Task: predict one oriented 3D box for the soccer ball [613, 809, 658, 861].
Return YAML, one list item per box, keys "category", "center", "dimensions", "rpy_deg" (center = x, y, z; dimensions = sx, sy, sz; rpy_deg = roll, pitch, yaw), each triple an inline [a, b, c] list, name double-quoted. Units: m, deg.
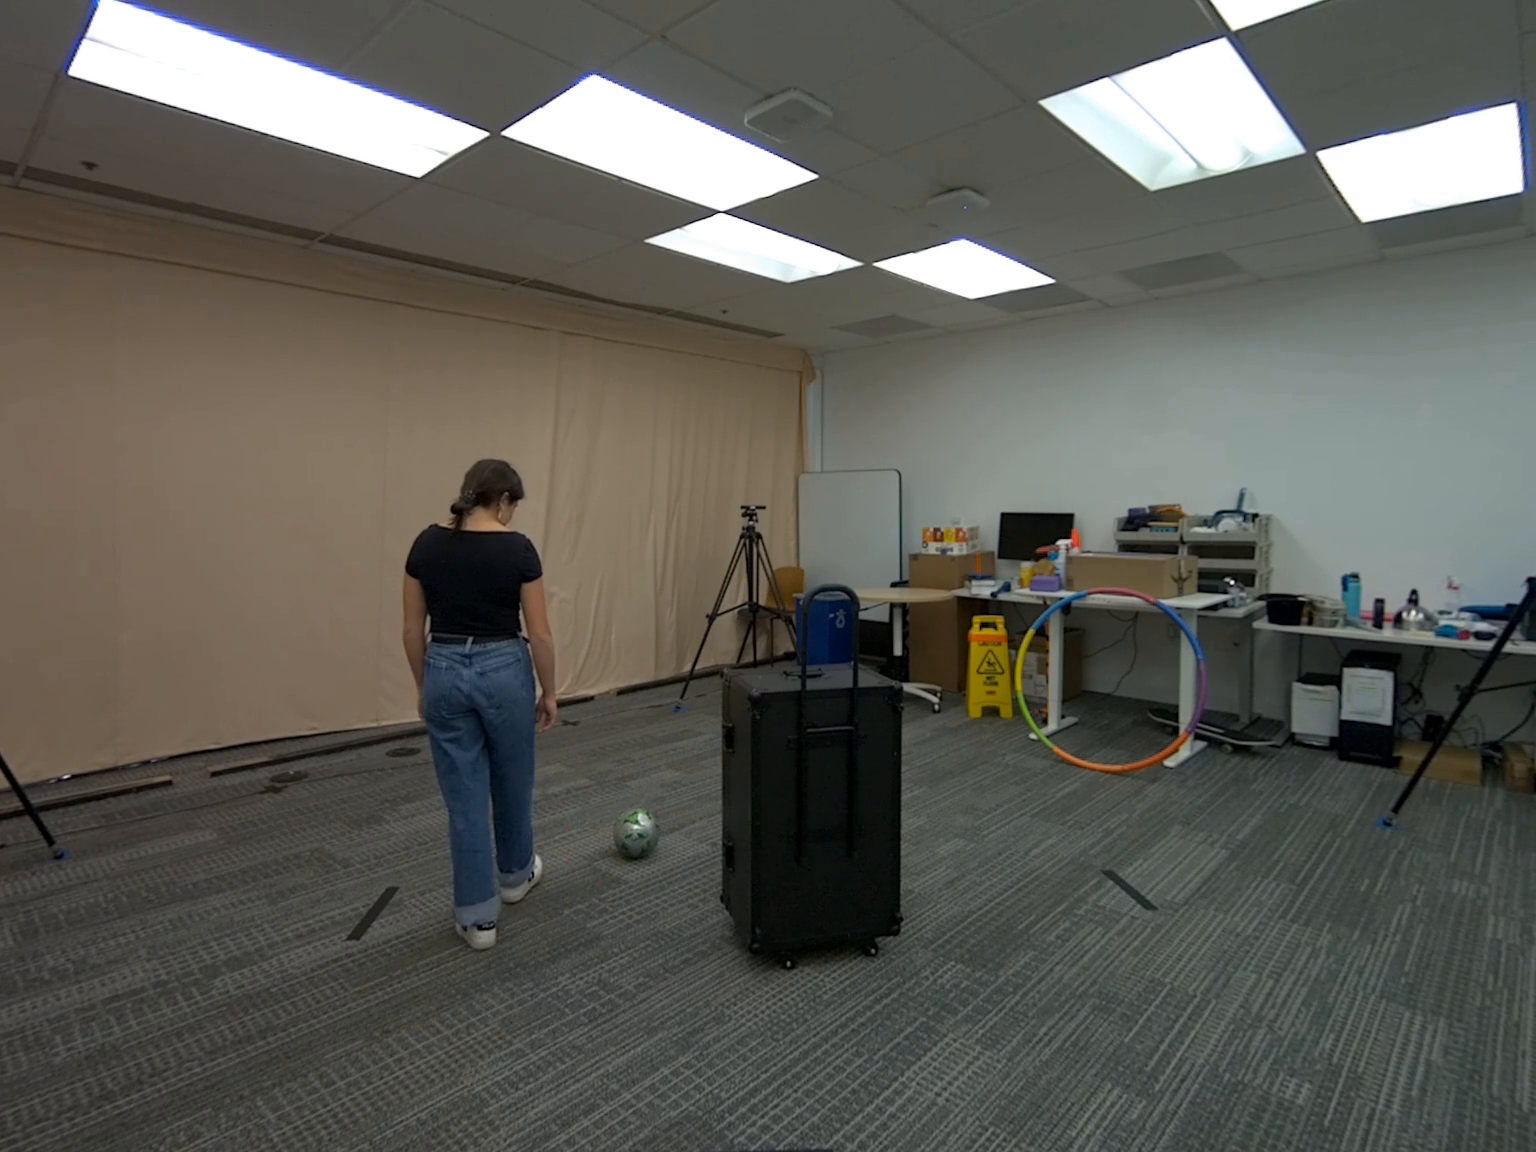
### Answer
- category: "soccer ball"
  center: [-0.518, 1.026, 3.357]
  dimensions: [0.187, 0.187, 0.188]
  rpy_deg: [0, 4, -2]
